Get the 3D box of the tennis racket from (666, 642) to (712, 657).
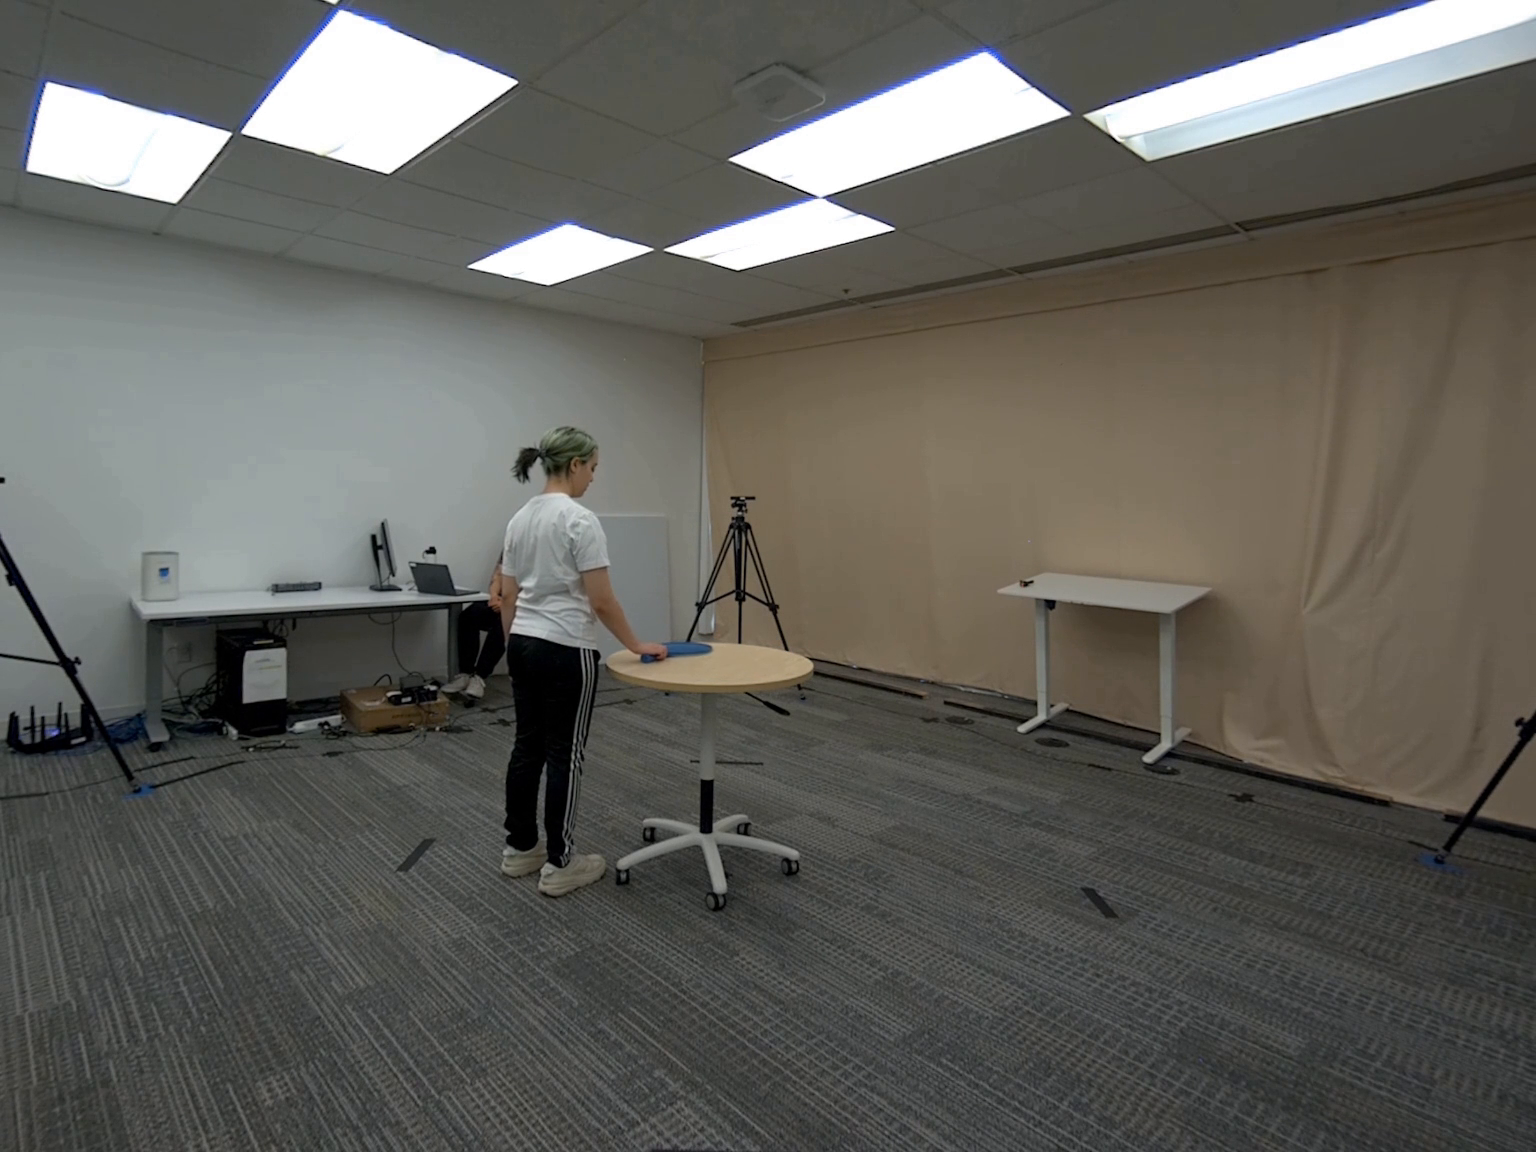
[{"bbox_3d":[-0.373,0.296,3.233,0.218,0.032,0.425,5,5,25],"label":"tennis racket"}]
